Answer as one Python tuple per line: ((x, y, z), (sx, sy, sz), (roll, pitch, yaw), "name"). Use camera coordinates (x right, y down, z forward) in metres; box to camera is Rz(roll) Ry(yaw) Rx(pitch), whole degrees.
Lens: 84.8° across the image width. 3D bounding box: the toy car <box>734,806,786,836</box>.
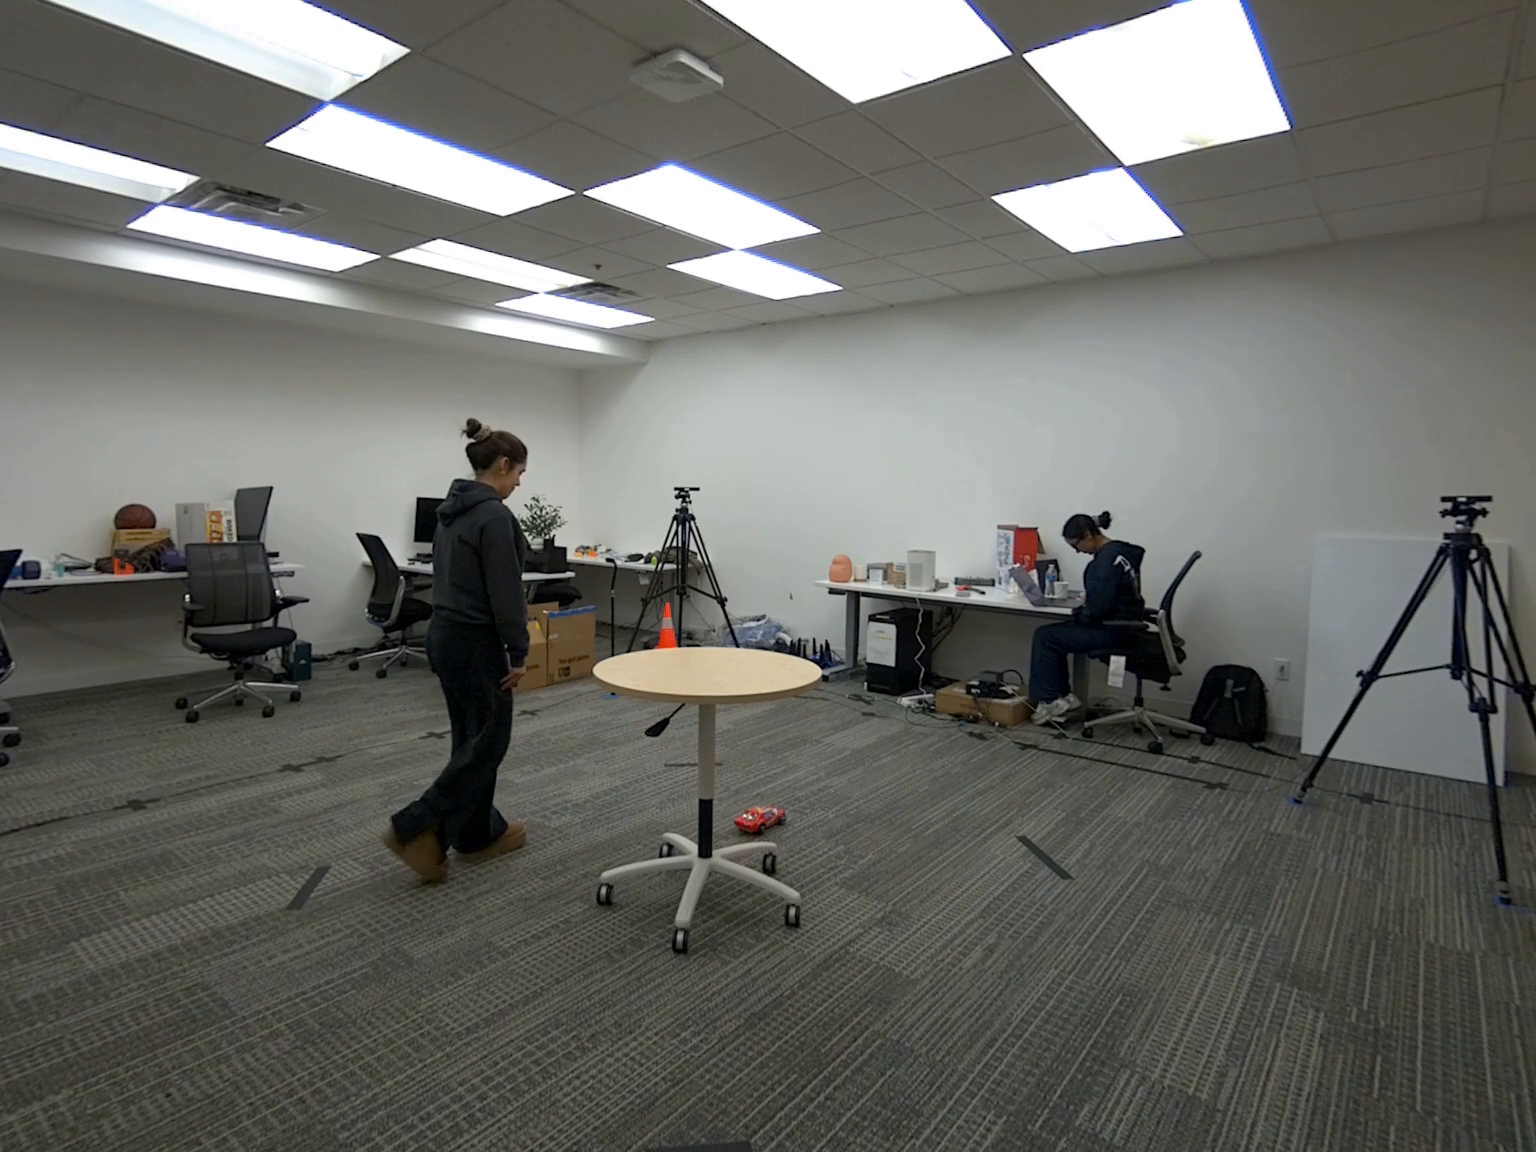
((-0.038, 1.004, 3.502), (0.135, 0.083, 0.245), (7, -3, 40), "toy car")
